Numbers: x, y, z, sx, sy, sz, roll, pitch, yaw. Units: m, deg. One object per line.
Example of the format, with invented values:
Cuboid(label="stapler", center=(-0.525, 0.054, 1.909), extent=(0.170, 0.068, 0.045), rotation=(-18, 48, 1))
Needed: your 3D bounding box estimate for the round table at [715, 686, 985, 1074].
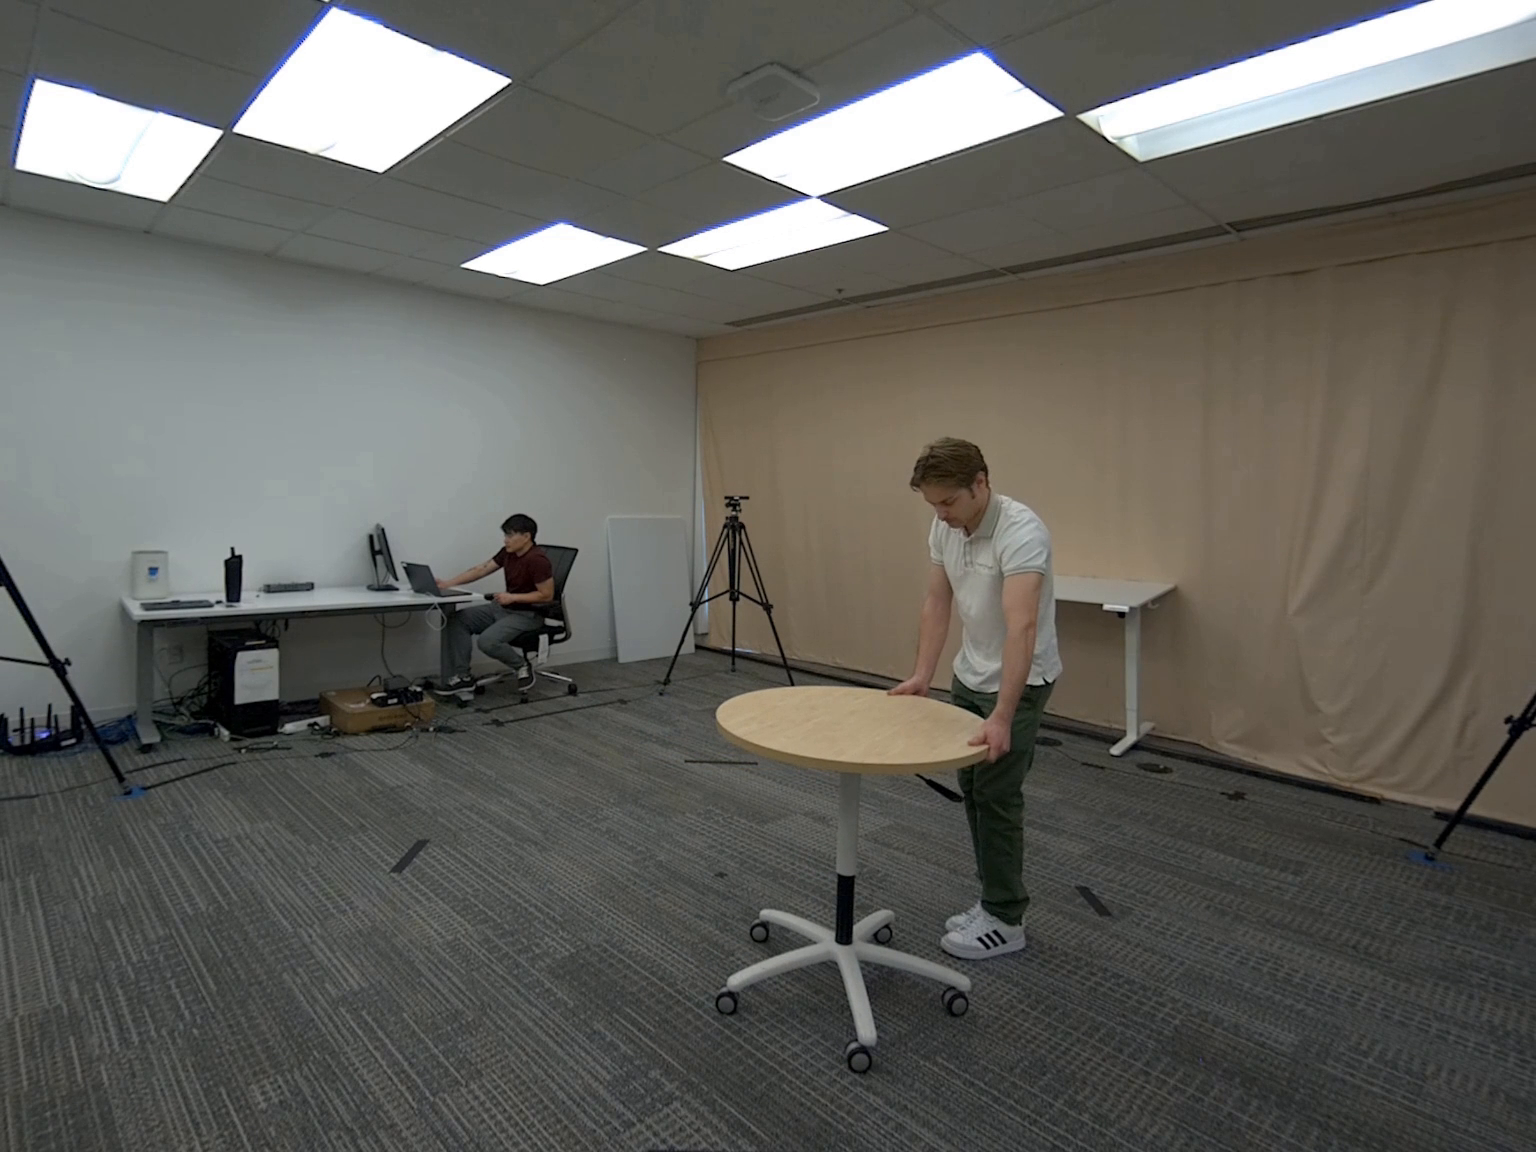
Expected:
Cuboid(label="round table", center=(0.223, 0.787, 2.385), extent=(0.784, 0.784, 0.788), rotation=(2, 5, -2))
